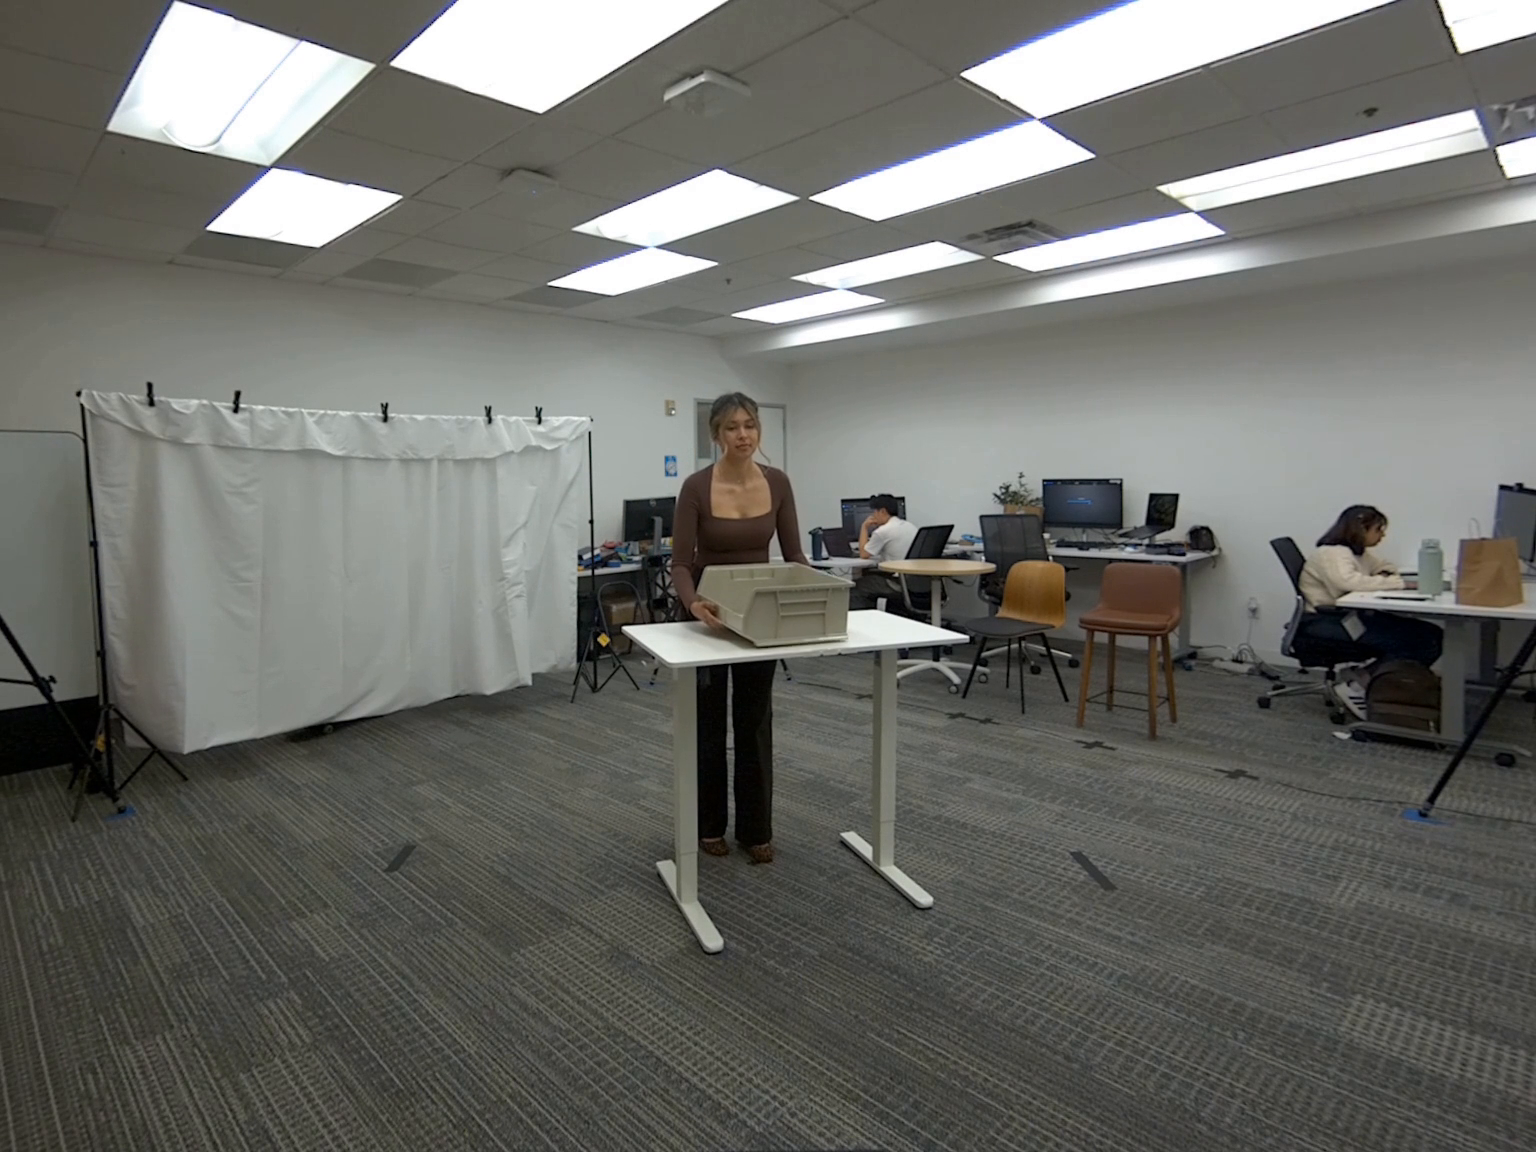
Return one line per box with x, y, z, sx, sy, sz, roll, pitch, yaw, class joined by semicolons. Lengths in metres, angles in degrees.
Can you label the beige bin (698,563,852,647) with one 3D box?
0.017;0.086;2.785;0.370;0.188;0.433;-2;8;-24;beige bin
